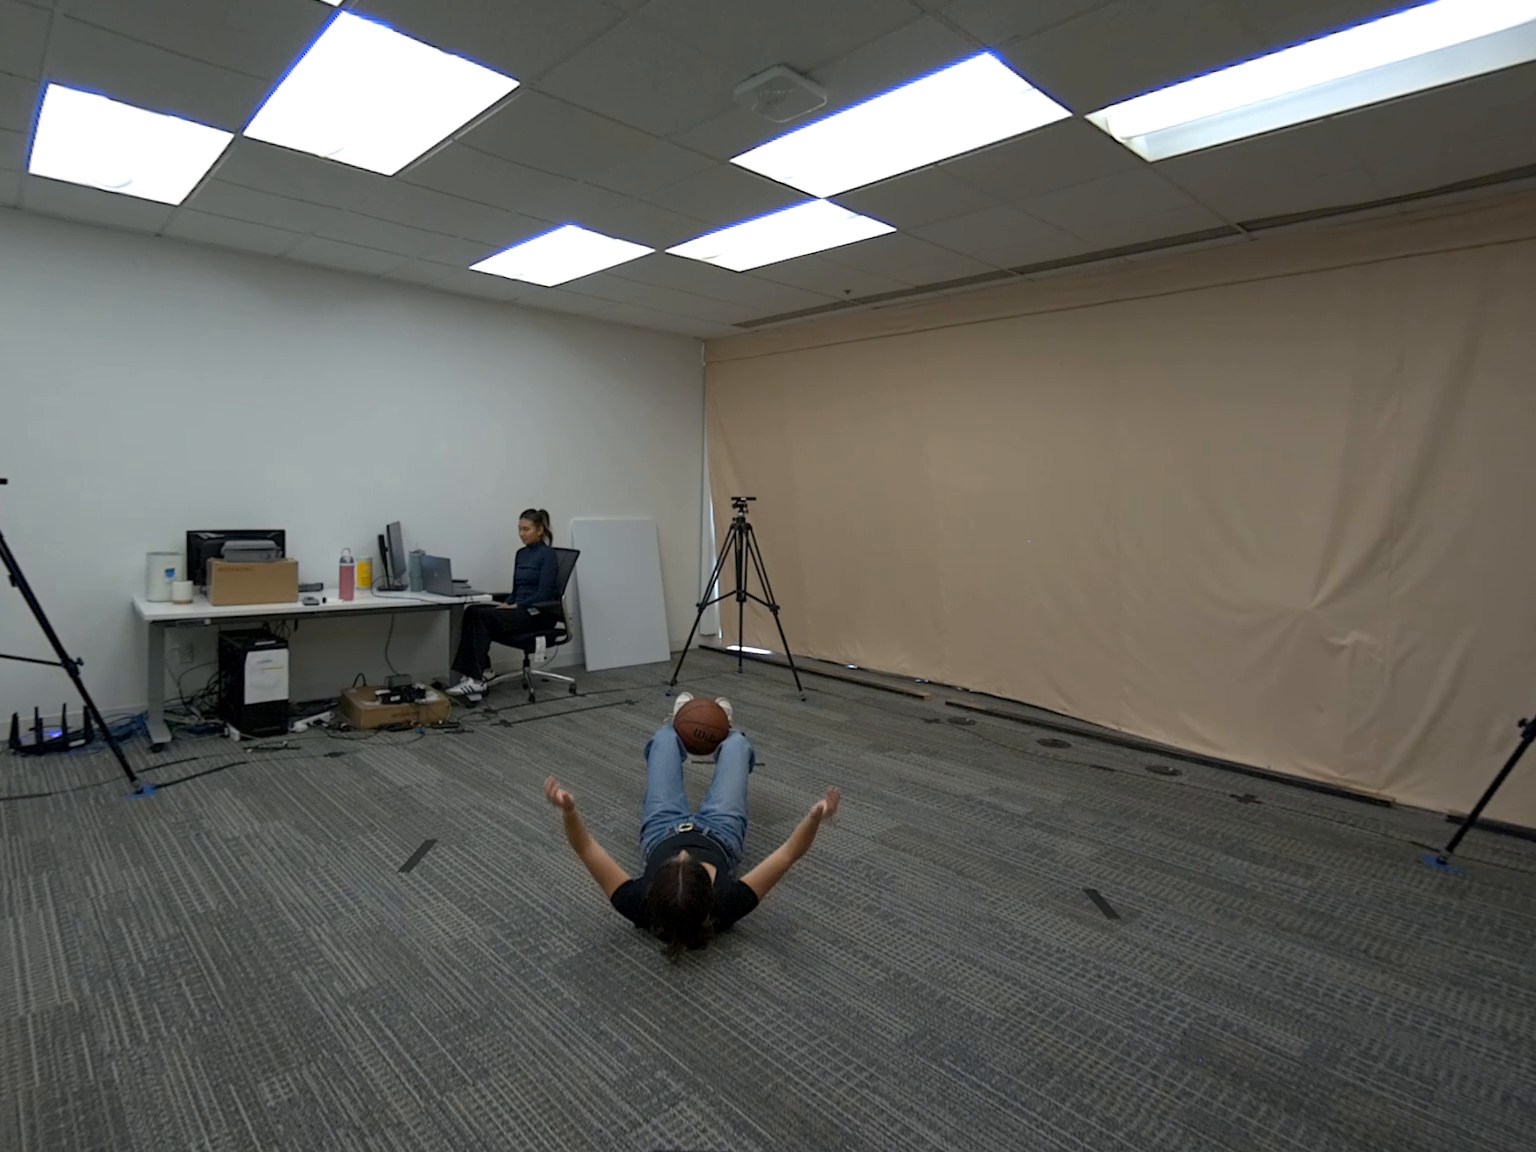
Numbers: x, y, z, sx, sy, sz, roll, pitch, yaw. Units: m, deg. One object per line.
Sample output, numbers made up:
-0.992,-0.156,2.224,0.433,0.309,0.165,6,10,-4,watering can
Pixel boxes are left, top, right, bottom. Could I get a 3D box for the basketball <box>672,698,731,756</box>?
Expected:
-0.289,0.635,3.560,0.236,0.235,0.237,1,4,-1,basketball
